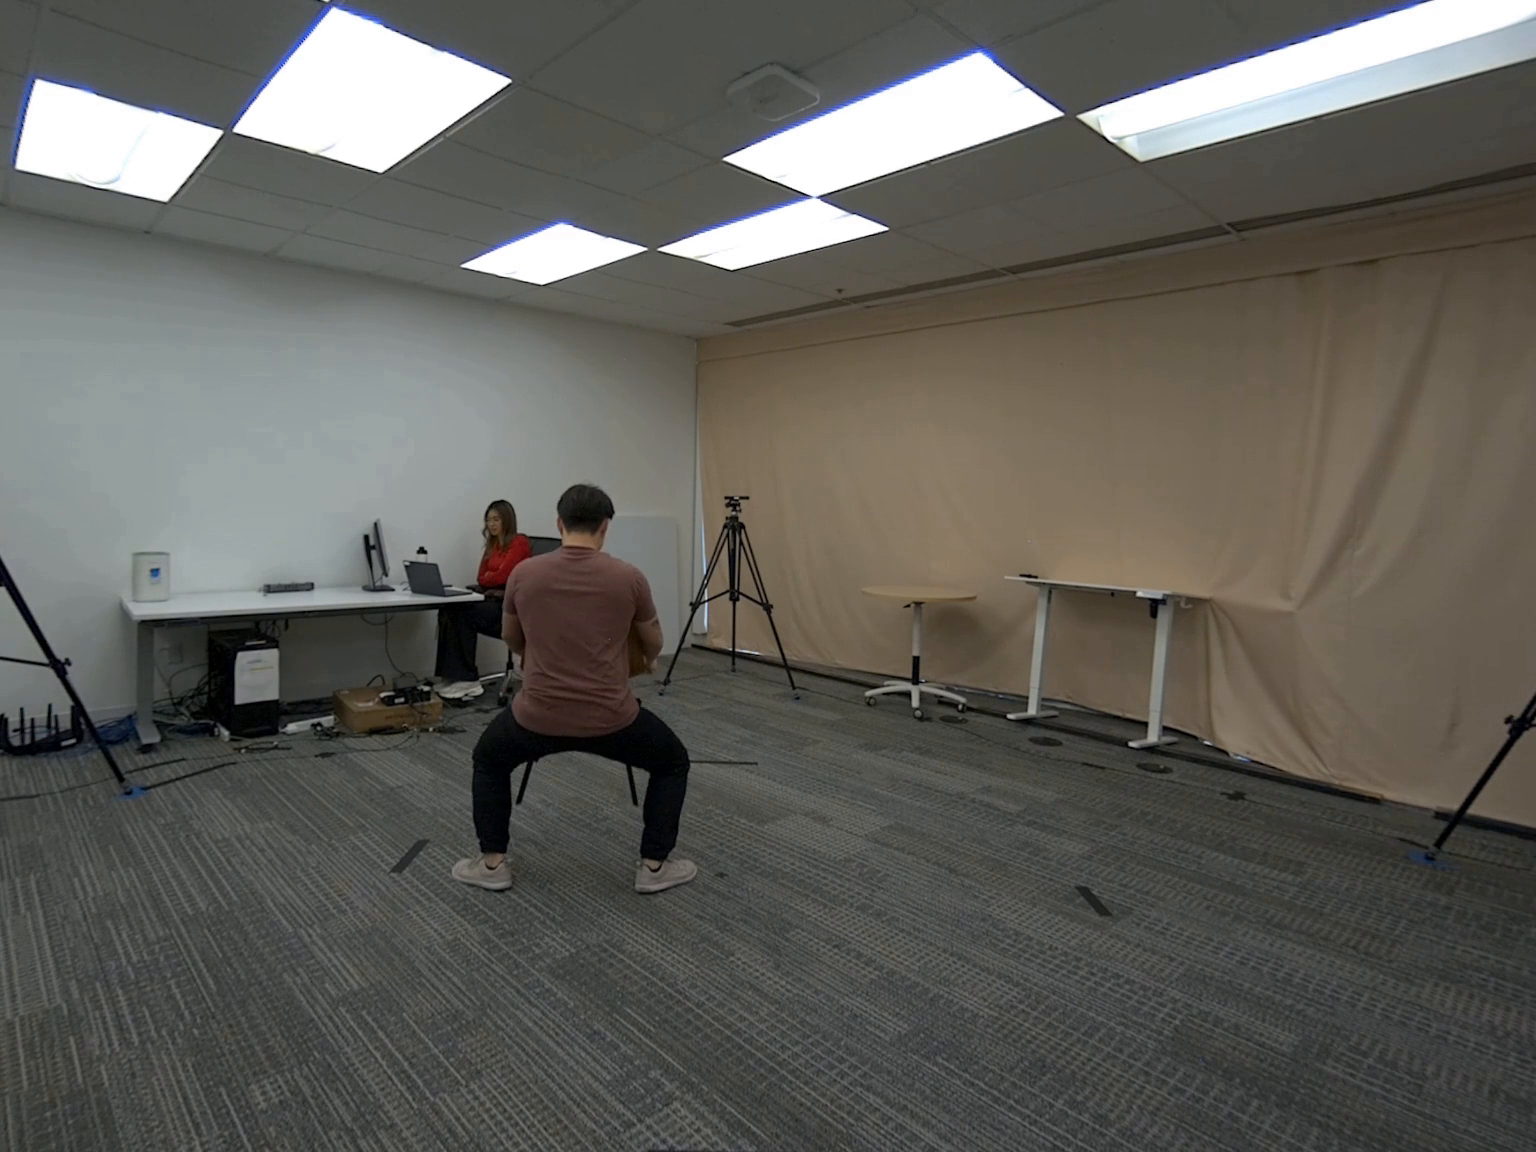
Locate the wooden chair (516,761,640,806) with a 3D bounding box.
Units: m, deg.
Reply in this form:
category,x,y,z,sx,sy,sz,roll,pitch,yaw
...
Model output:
category,x,y,z,sx,sy,sz,roll,pitch,yaw
wooden chair,-0.724,0.404,3.326,0.476,0.871,0.529,2,10,-6
